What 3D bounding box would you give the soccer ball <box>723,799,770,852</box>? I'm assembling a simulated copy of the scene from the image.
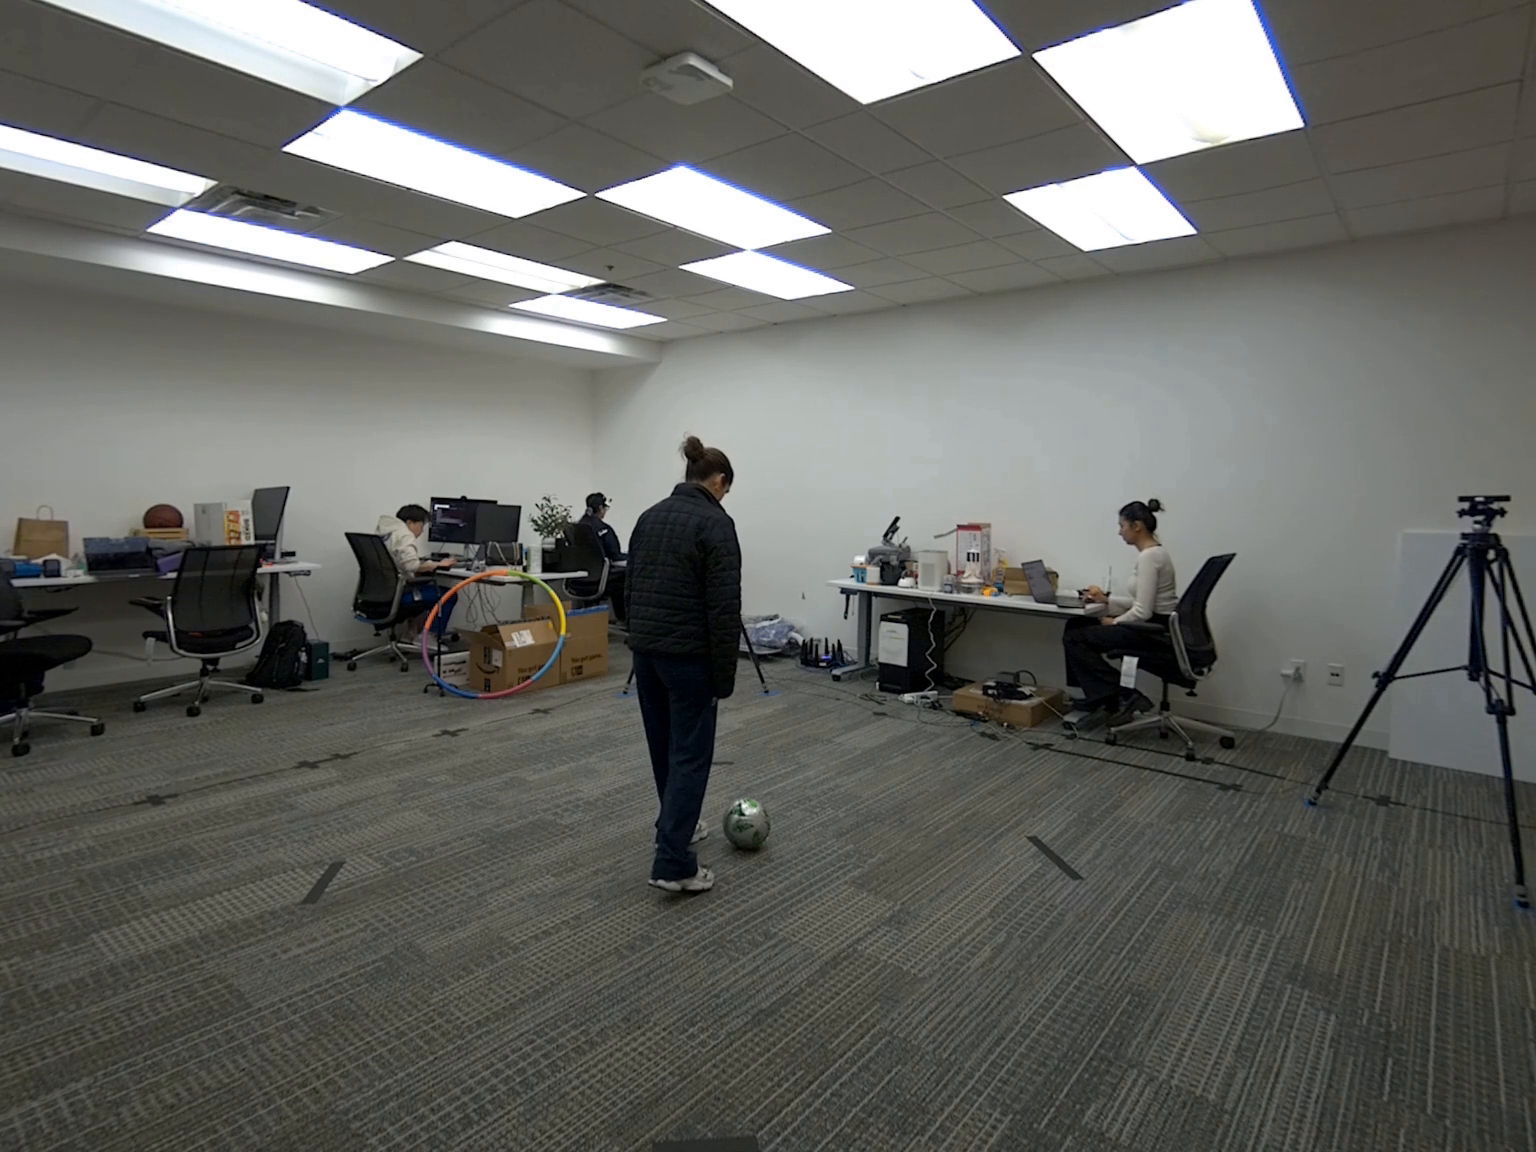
[{"bbox_3d":[-0.092,0.957,3.294,0.187,0.187,0.188,1,4,-2],"label":"soccer ball"}]
